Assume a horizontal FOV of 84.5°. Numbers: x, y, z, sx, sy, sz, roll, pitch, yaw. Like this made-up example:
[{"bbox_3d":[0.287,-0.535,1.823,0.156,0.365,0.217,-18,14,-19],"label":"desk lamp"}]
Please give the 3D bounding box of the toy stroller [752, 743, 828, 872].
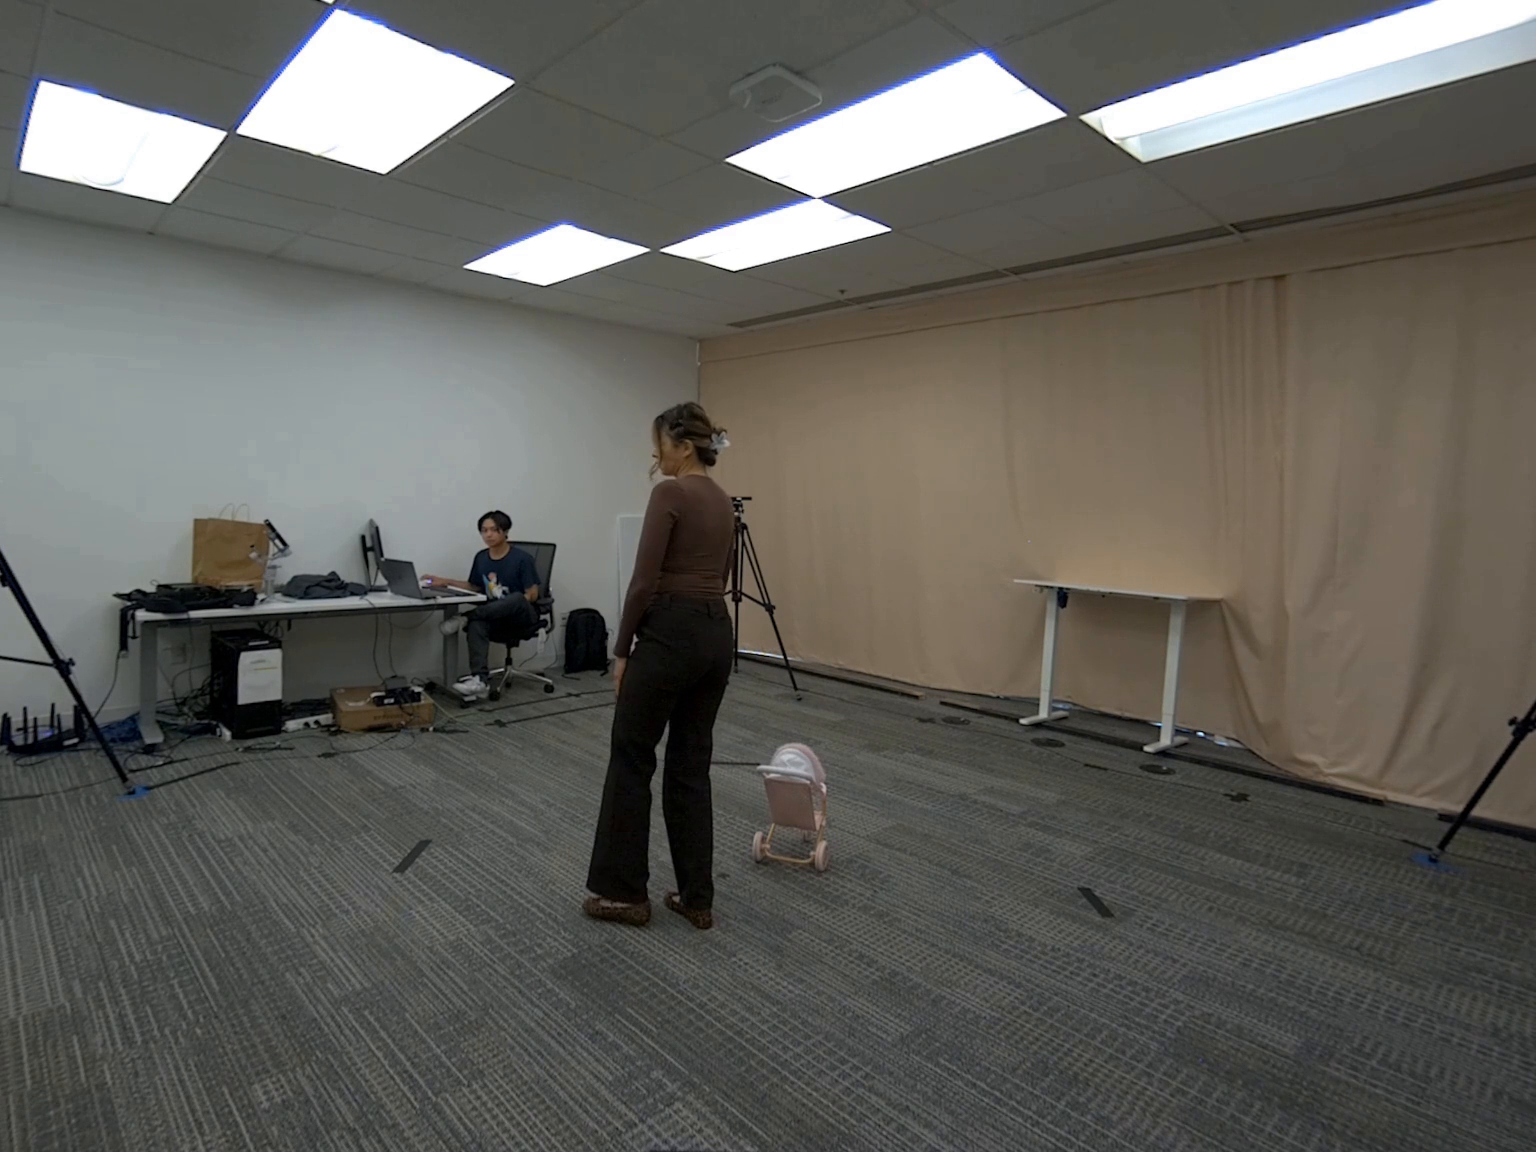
[{"bbox_3d":[0.103,0.877,3.249,0.286,0.527,0.340,4,21,21],"label":"toy stroller"}]
